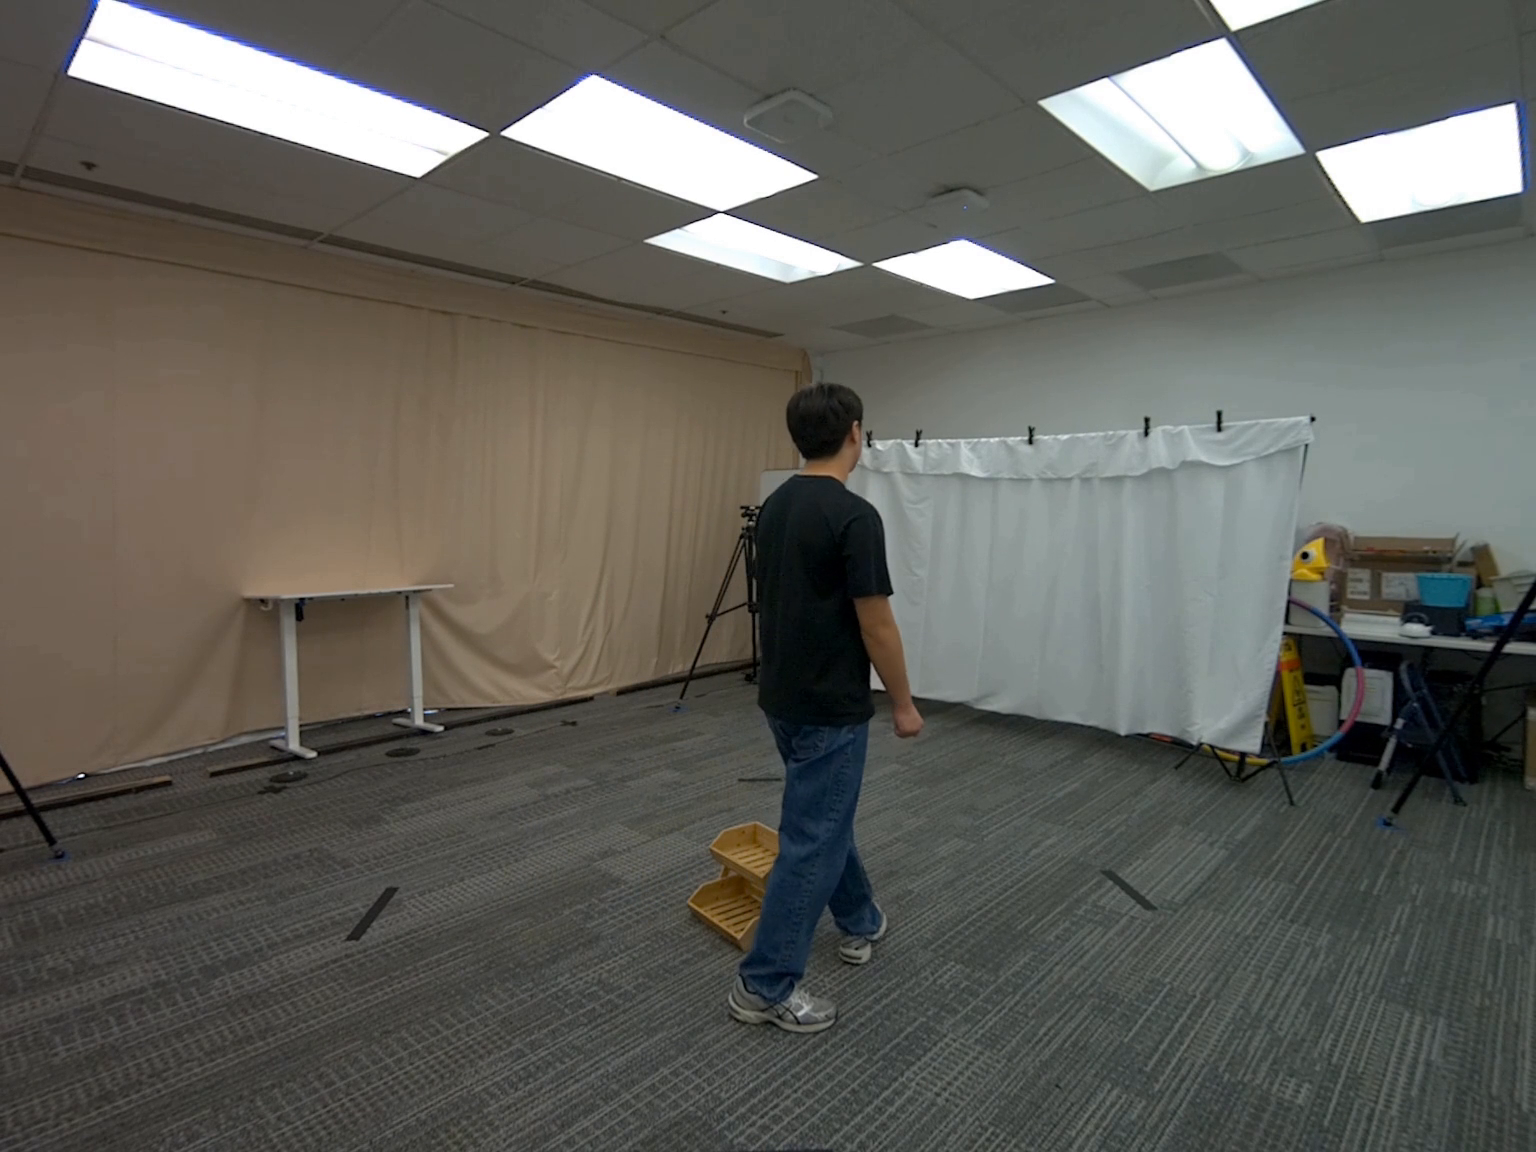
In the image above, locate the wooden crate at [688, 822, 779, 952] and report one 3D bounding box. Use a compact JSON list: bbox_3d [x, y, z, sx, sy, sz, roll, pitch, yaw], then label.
[{"bbox_3d":[-0.064,1.024,2.815,0.293,0.273,0.335,-2,5,-37],"label":"wooden crate"}]
